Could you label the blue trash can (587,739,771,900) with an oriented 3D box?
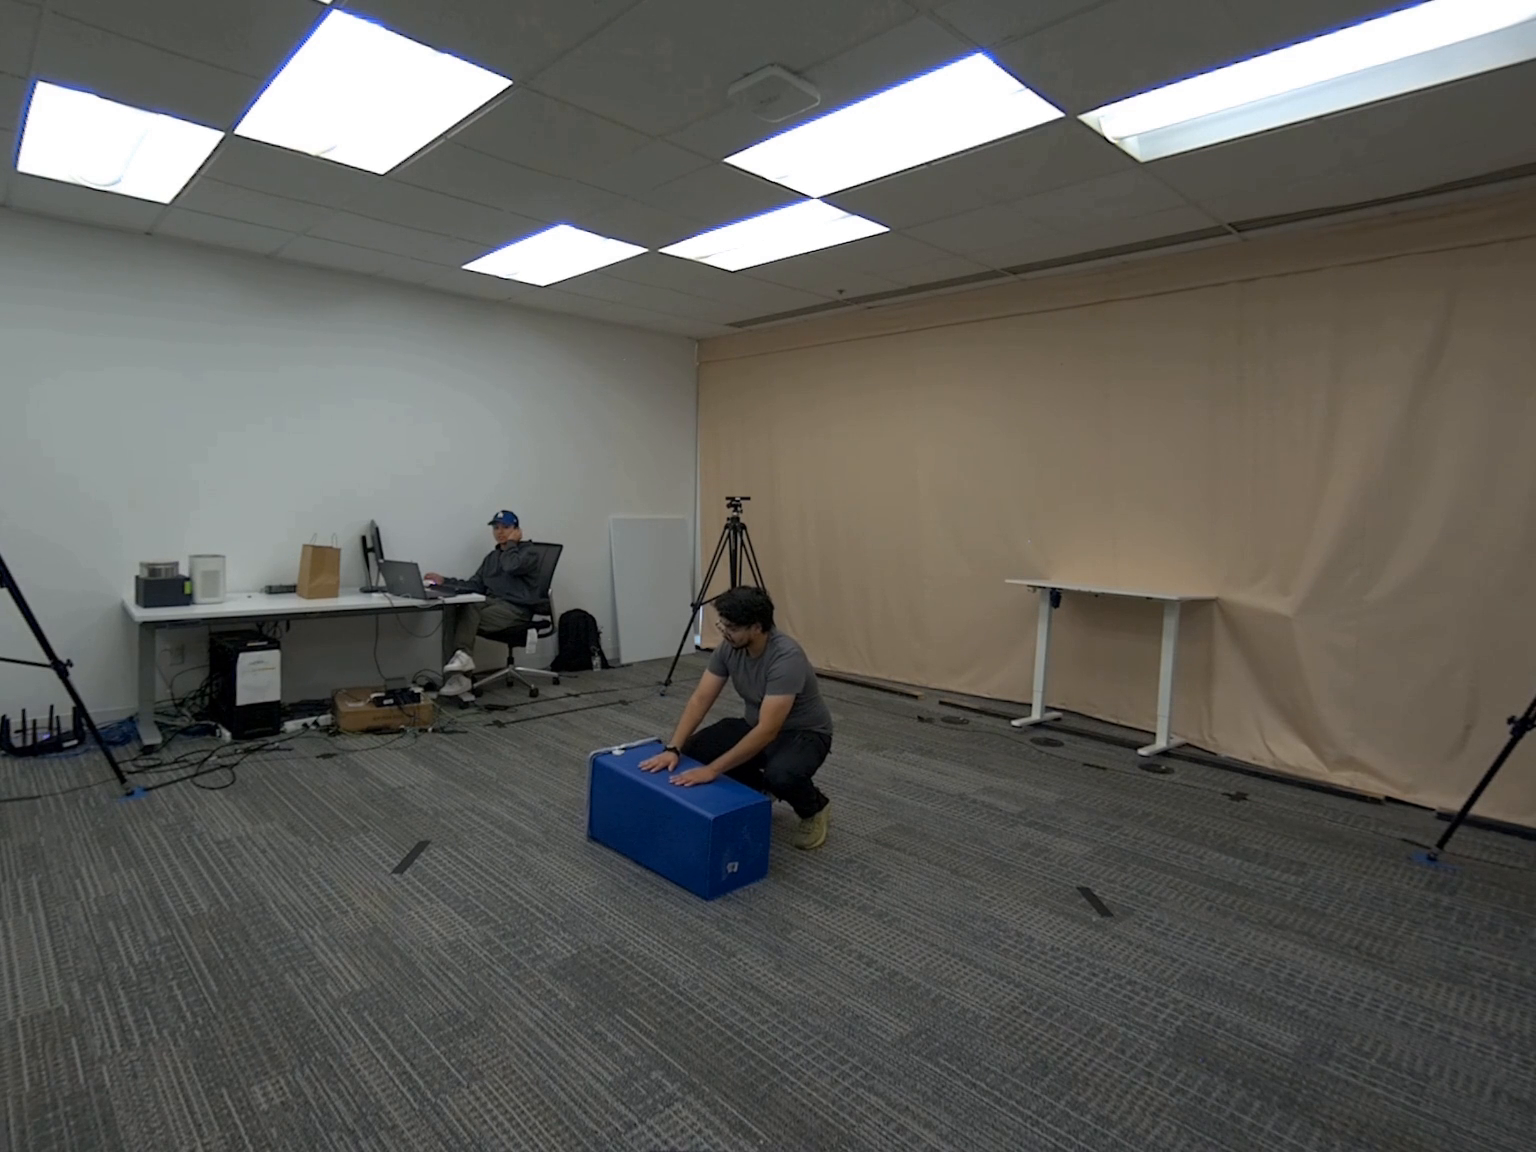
[{"bbox_3d":[-0.358,0.920,3.234,0.365,0.377,0.733,-2,8,-43],"label":"blue trash can"}]
